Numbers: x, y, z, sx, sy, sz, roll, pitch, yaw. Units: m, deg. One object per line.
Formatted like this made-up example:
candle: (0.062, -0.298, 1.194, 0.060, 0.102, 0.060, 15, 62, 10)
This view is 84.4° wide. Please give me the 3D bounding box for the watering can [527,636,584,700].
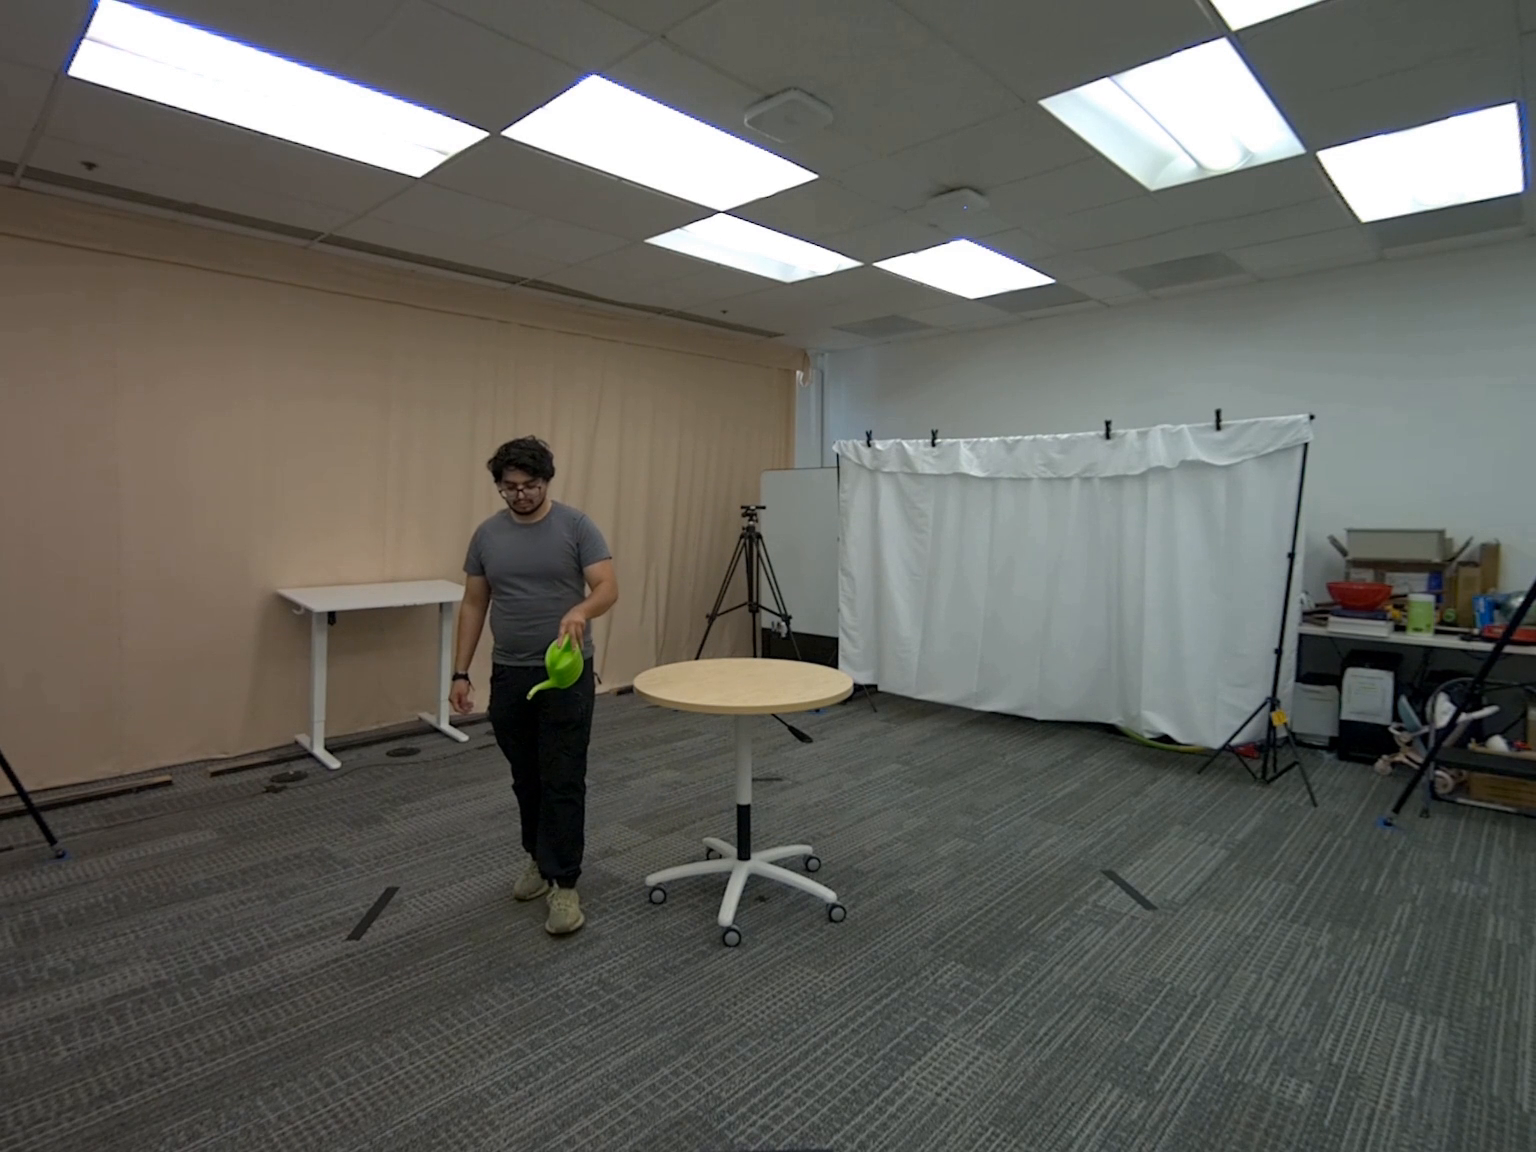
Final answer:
watering can: (-0.669, 0.292, 2.615, 0.100, 0.276, 0.174, 31, -31, 15)
